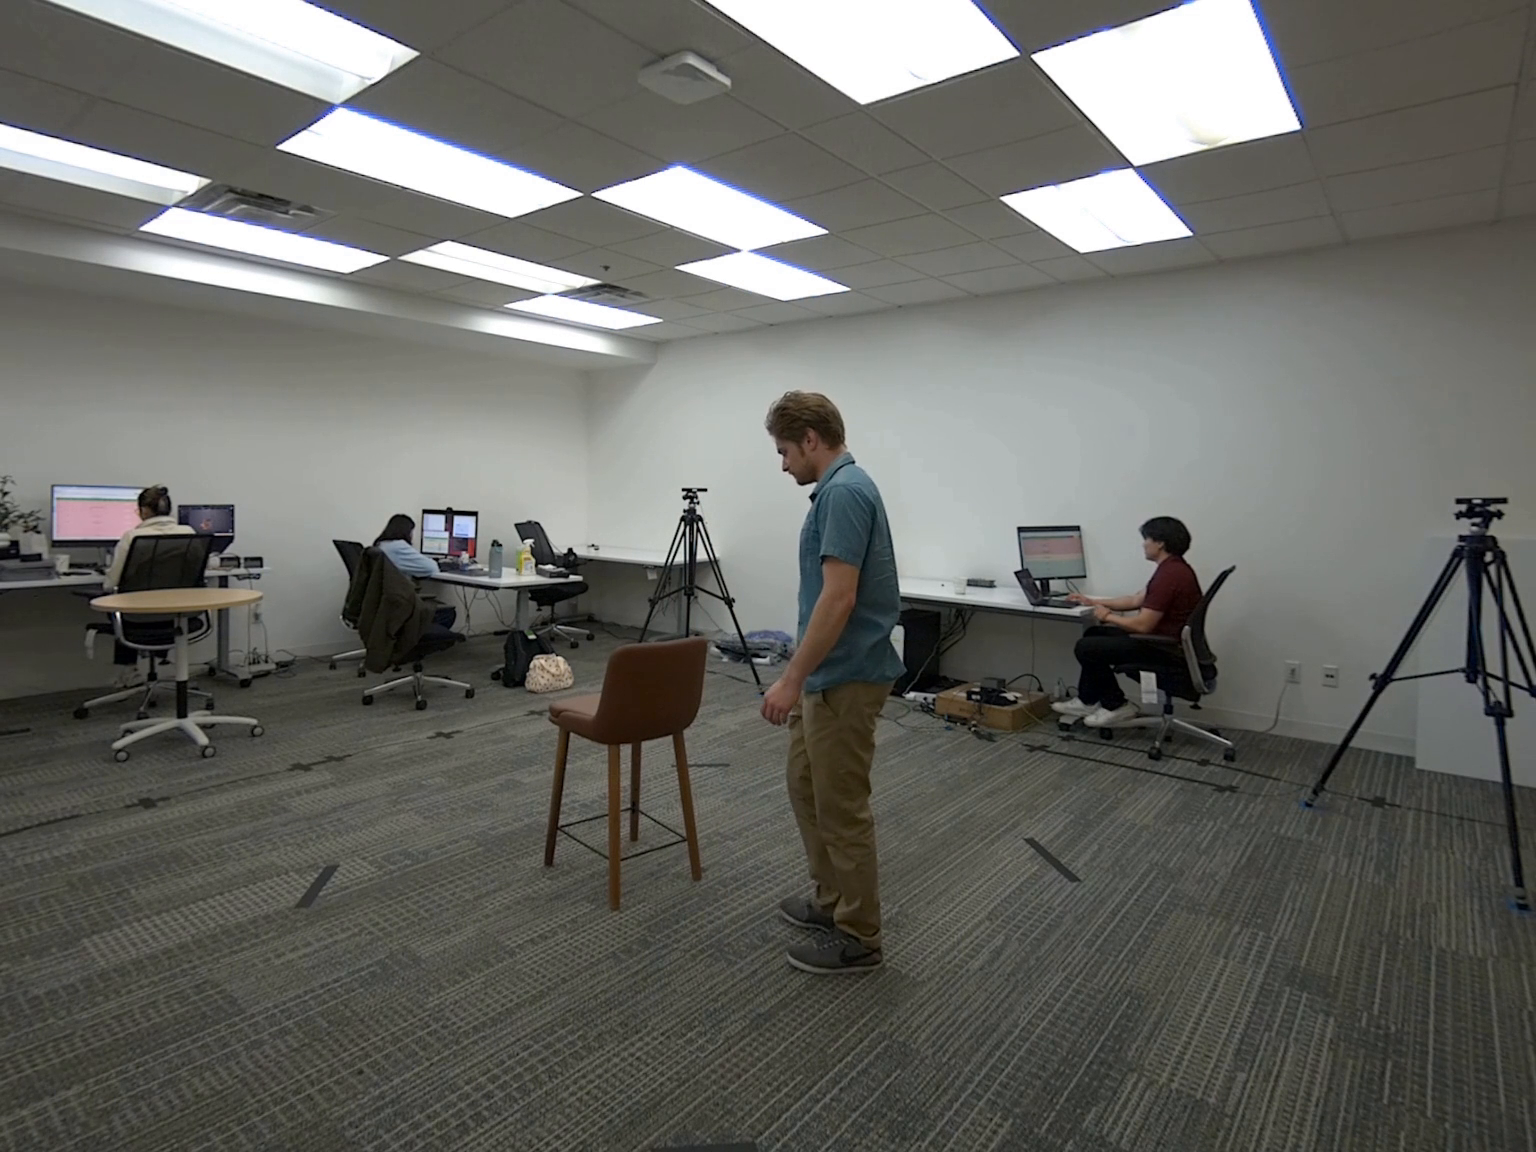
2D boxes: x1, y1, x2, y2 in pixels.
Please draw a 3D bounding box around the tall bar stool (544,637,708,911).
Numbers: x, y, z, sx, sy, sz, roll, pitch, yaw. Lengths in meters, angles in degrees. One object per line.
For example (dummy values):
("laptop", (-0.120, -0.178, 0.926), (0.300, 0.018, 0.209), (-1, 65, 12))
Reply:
("tall bar stool", (-0.519, 0.635, 3.055), (0.442, 0.886, 0.484), (-1, 6, -42))
